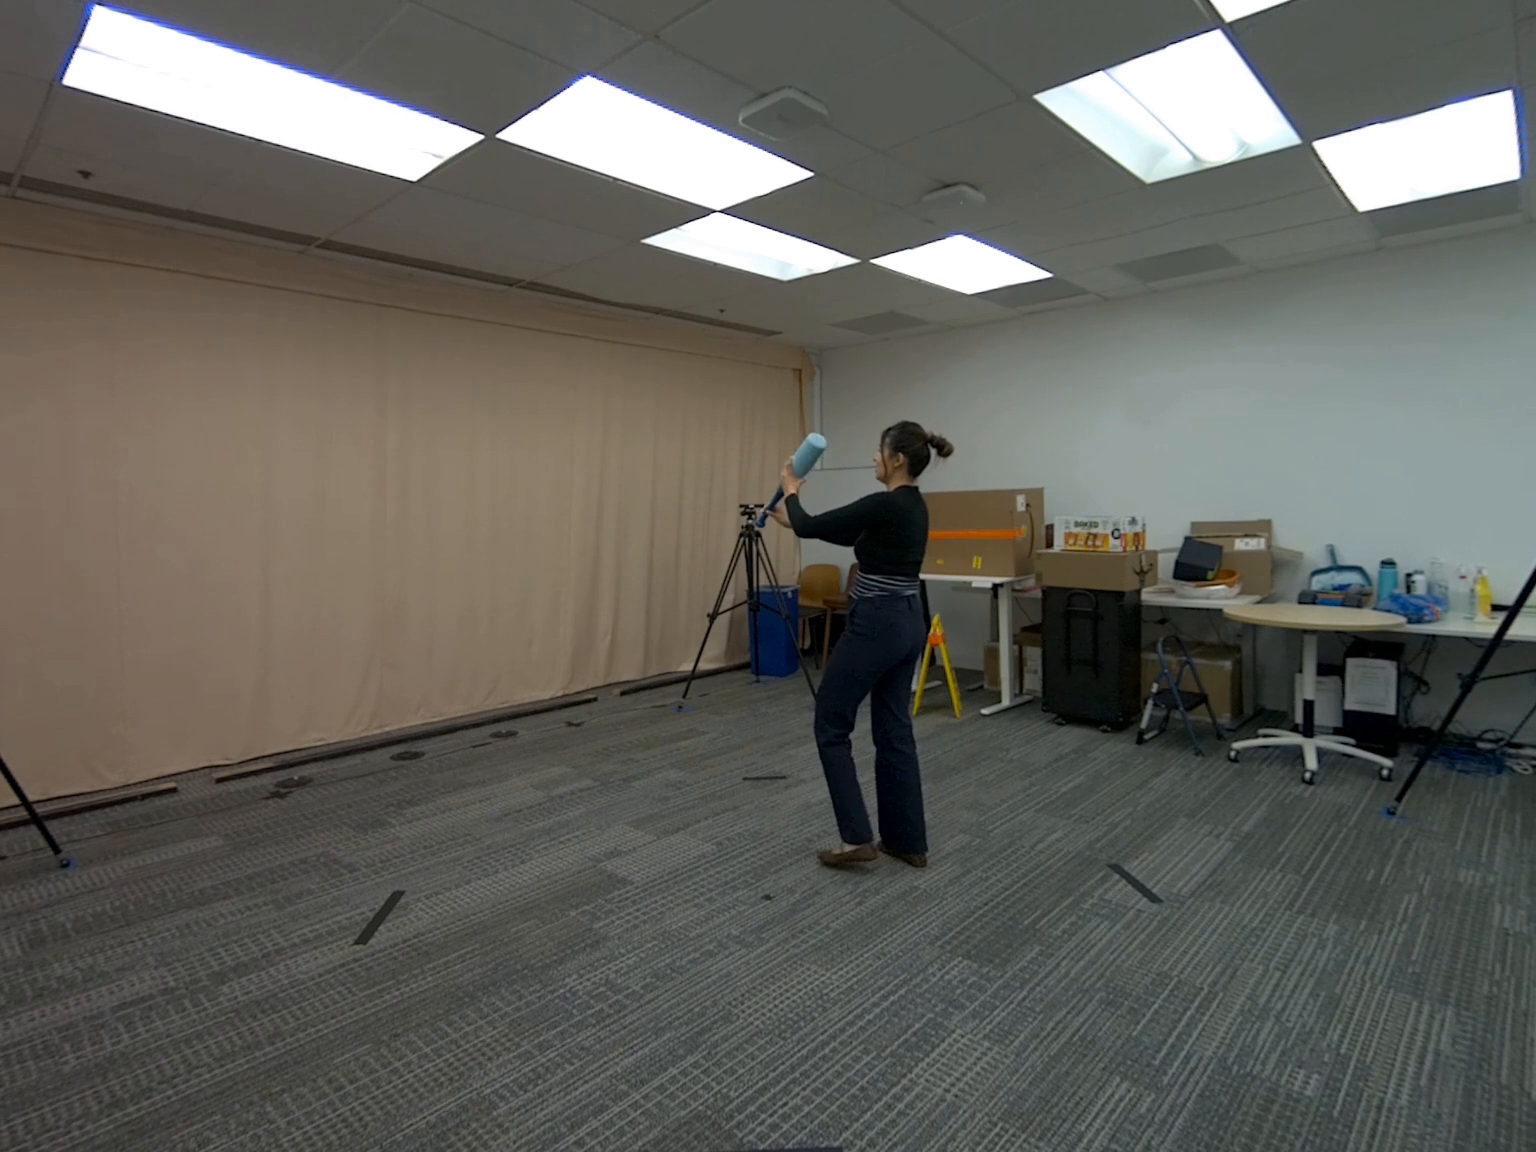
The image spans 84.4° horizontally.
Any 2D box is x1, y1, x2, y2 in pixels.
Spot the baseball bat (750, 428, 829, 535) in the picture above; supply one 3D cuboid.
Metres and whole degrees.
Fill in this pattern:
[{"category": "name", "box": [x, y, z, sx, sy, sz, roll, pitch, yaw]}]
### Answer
[{"category": "baseball bat", "box": [0.077, -0.380, 3.484, 0.087, 0.091, 0.543, -2, -36, -29]}]
